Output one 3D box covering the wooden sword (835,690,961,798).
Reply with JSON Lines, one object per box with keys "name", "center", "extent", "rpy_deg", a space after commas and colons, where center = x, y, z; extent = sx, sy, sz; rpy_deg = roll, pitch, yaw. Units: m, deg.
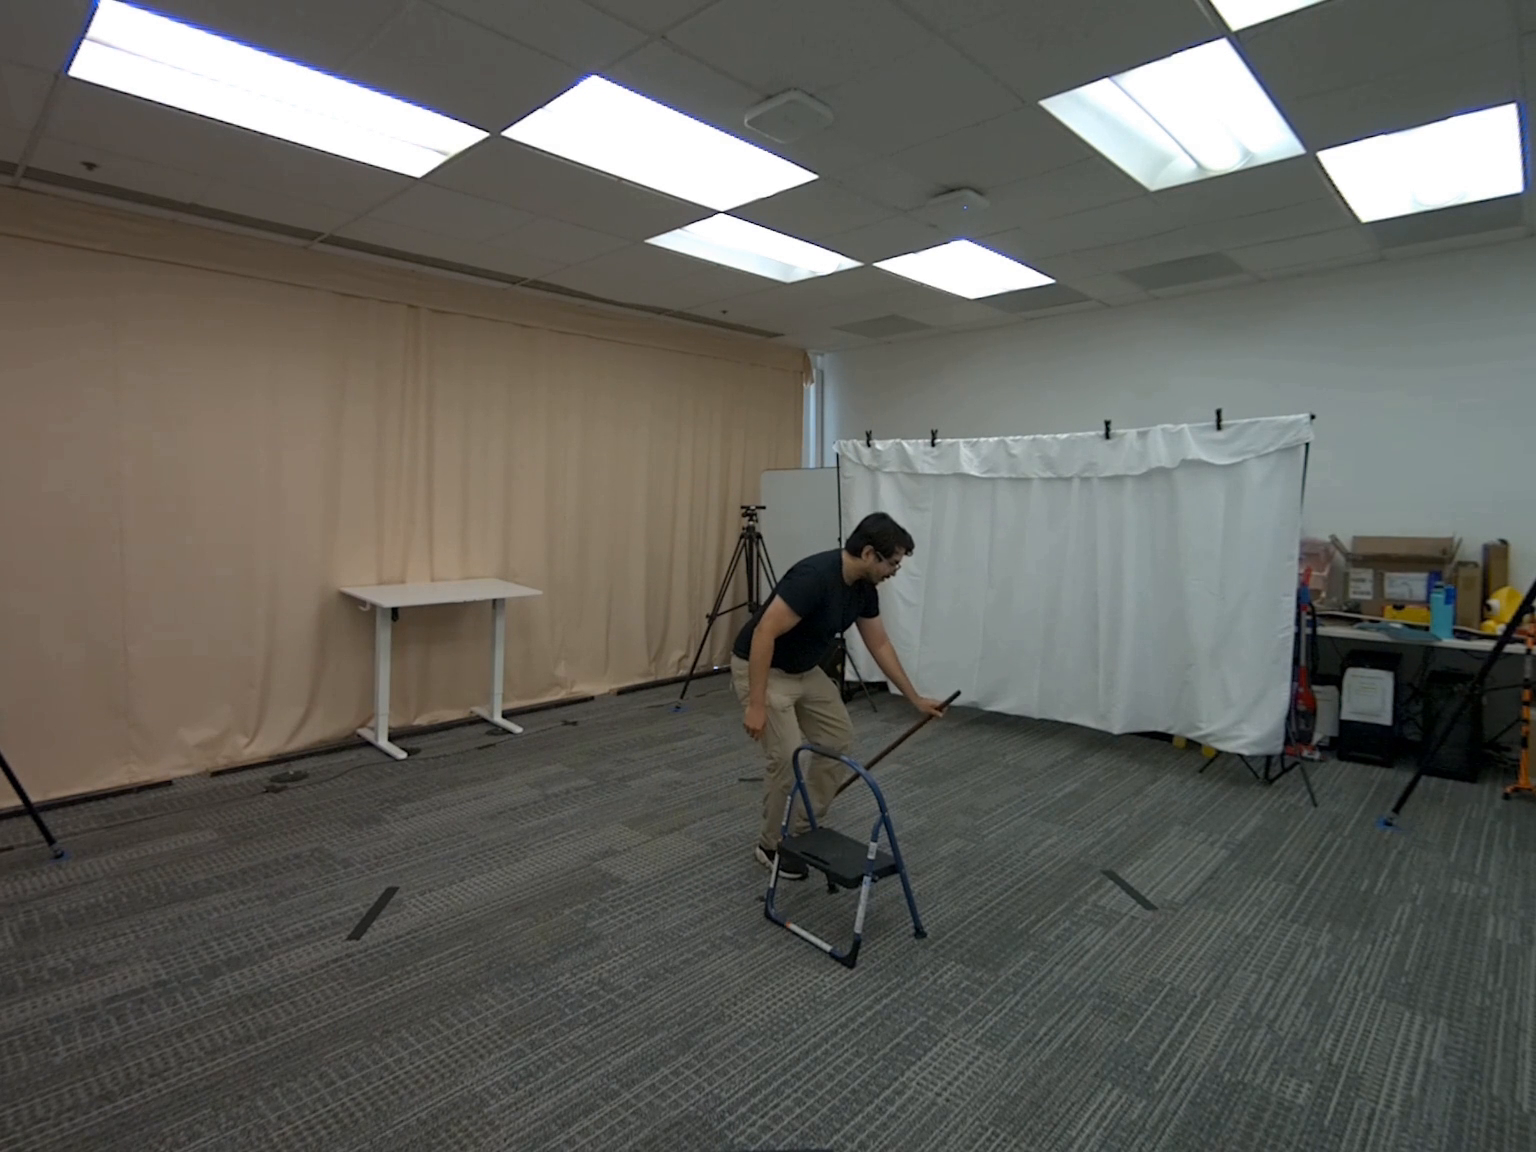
{"name": "wooden sword", "center": [0.467, 0.755, 3.525], "extent": [1.031, 0.052, 0.024], "rpy_deg": [-47, -7, 34]}
